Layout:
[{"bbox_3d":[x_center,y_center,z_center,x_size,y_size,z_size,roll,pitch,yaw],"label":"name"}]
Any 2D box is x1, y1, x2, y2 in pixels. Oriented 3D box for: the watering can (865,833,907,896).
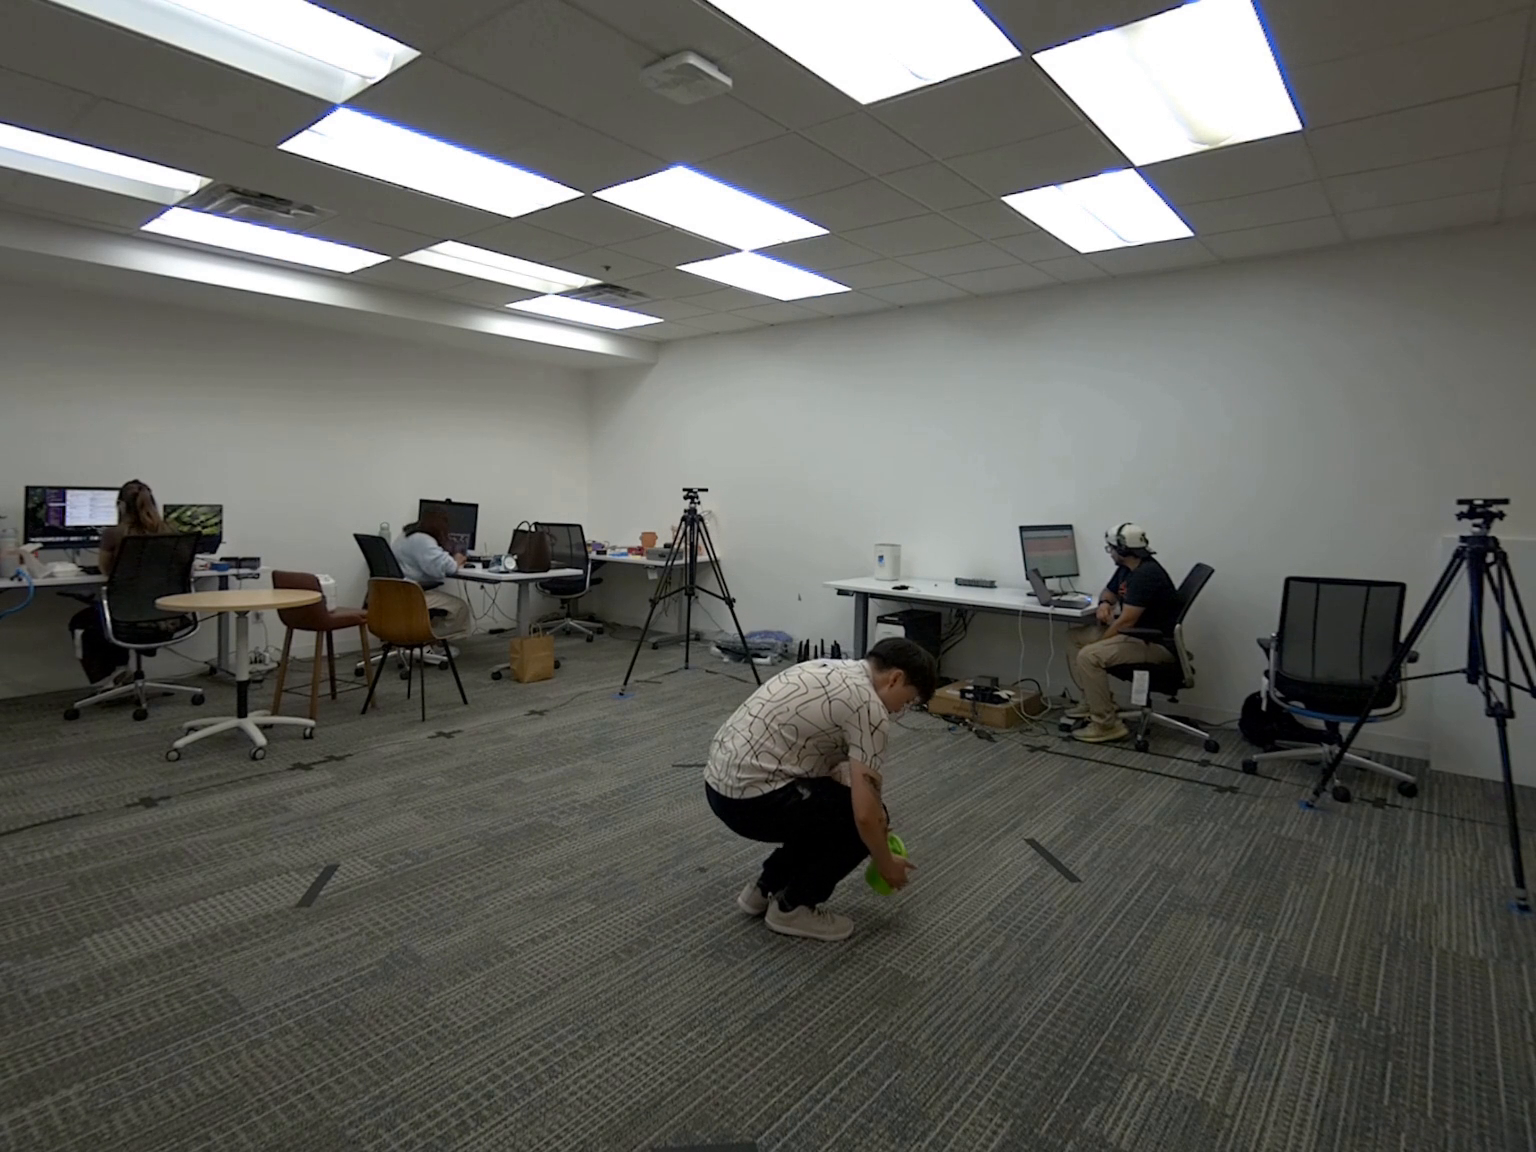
[{"bbox_3d":[0.388,0.923,2.844,0.097,0.176,0.281,22,9,-8],"label":"watering can"}]
